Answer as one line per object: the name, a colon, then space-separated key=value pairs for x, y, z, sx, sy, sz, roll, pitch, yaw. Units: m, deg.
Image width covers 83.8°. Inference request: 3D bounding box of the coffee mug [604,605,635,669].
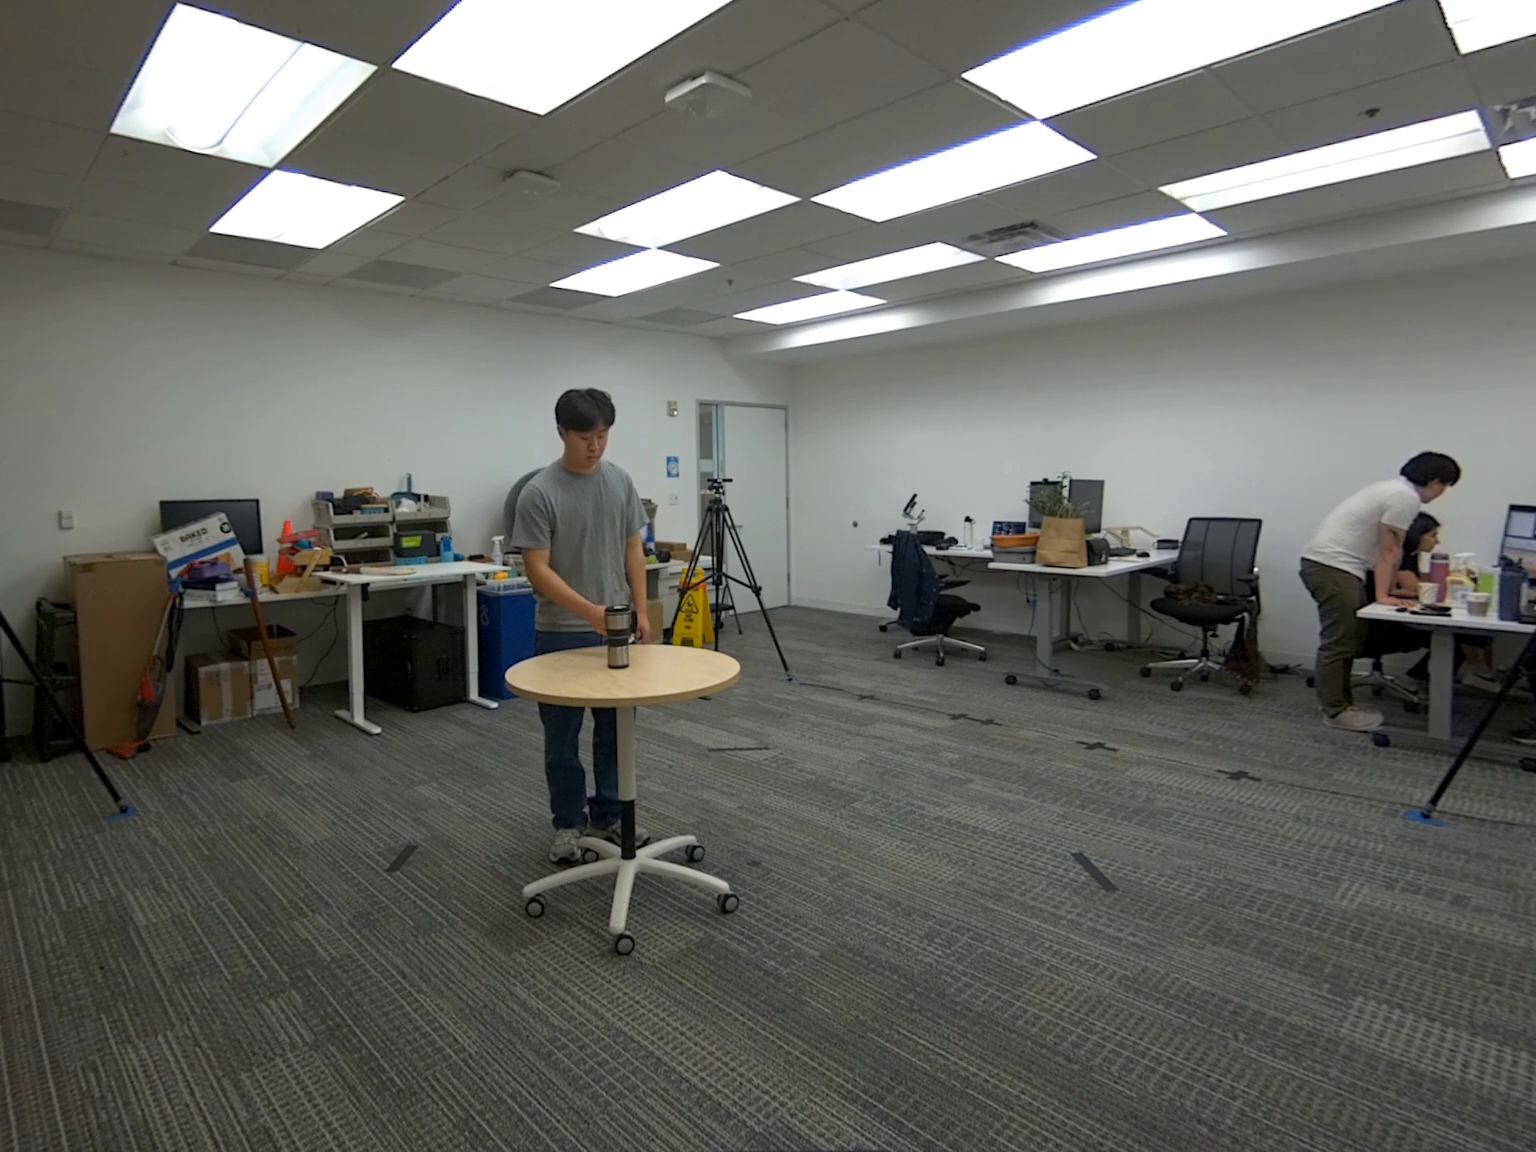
coffee mug: x=-0.475 y=0.200 z=2.832 sx=0.119 sy=0.202 sz=0.090 roll=-8 pitch=3 yaw=-27
